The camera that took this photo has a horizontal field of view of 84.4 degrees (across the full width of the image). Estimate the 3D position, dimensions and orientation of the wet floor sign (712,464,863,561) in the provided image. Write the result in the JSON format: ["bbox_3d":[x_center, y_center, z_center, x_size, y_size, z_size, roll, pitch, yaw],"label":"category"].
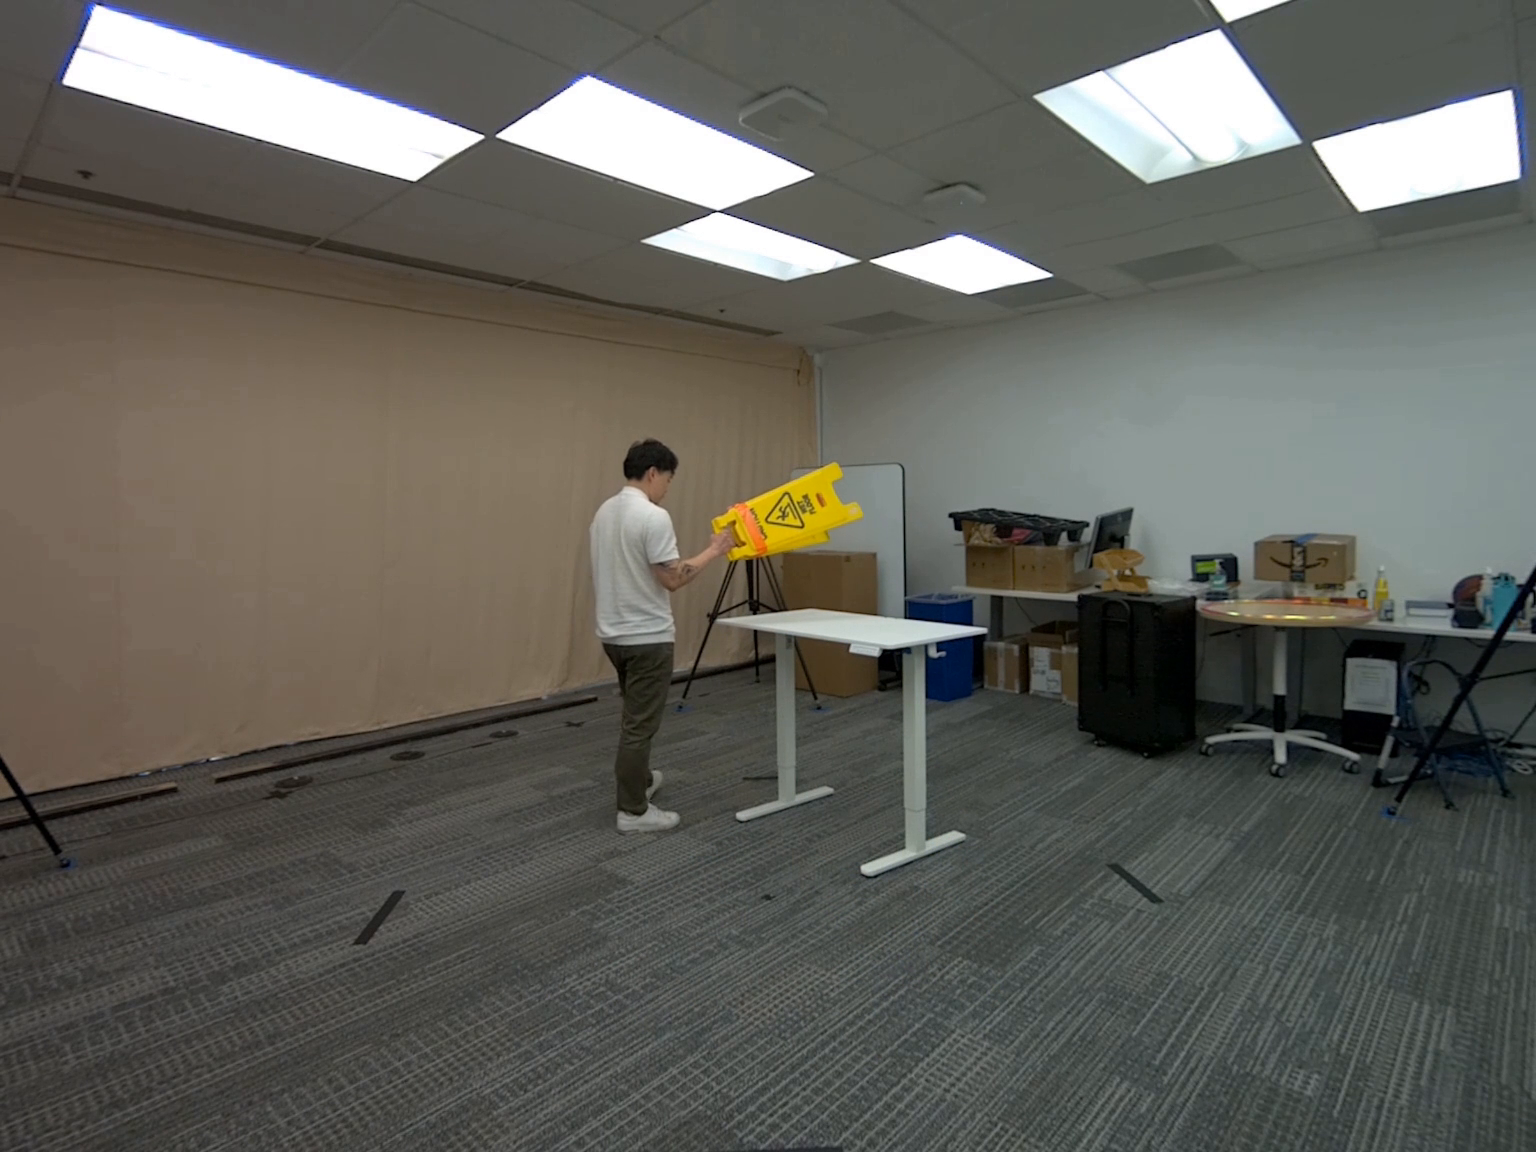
[{"bbox_3d":[0.056,-0.246,3.730,0.632,0.285,0.293,-20,-10,-31],"label":"wet floor sign"}]
